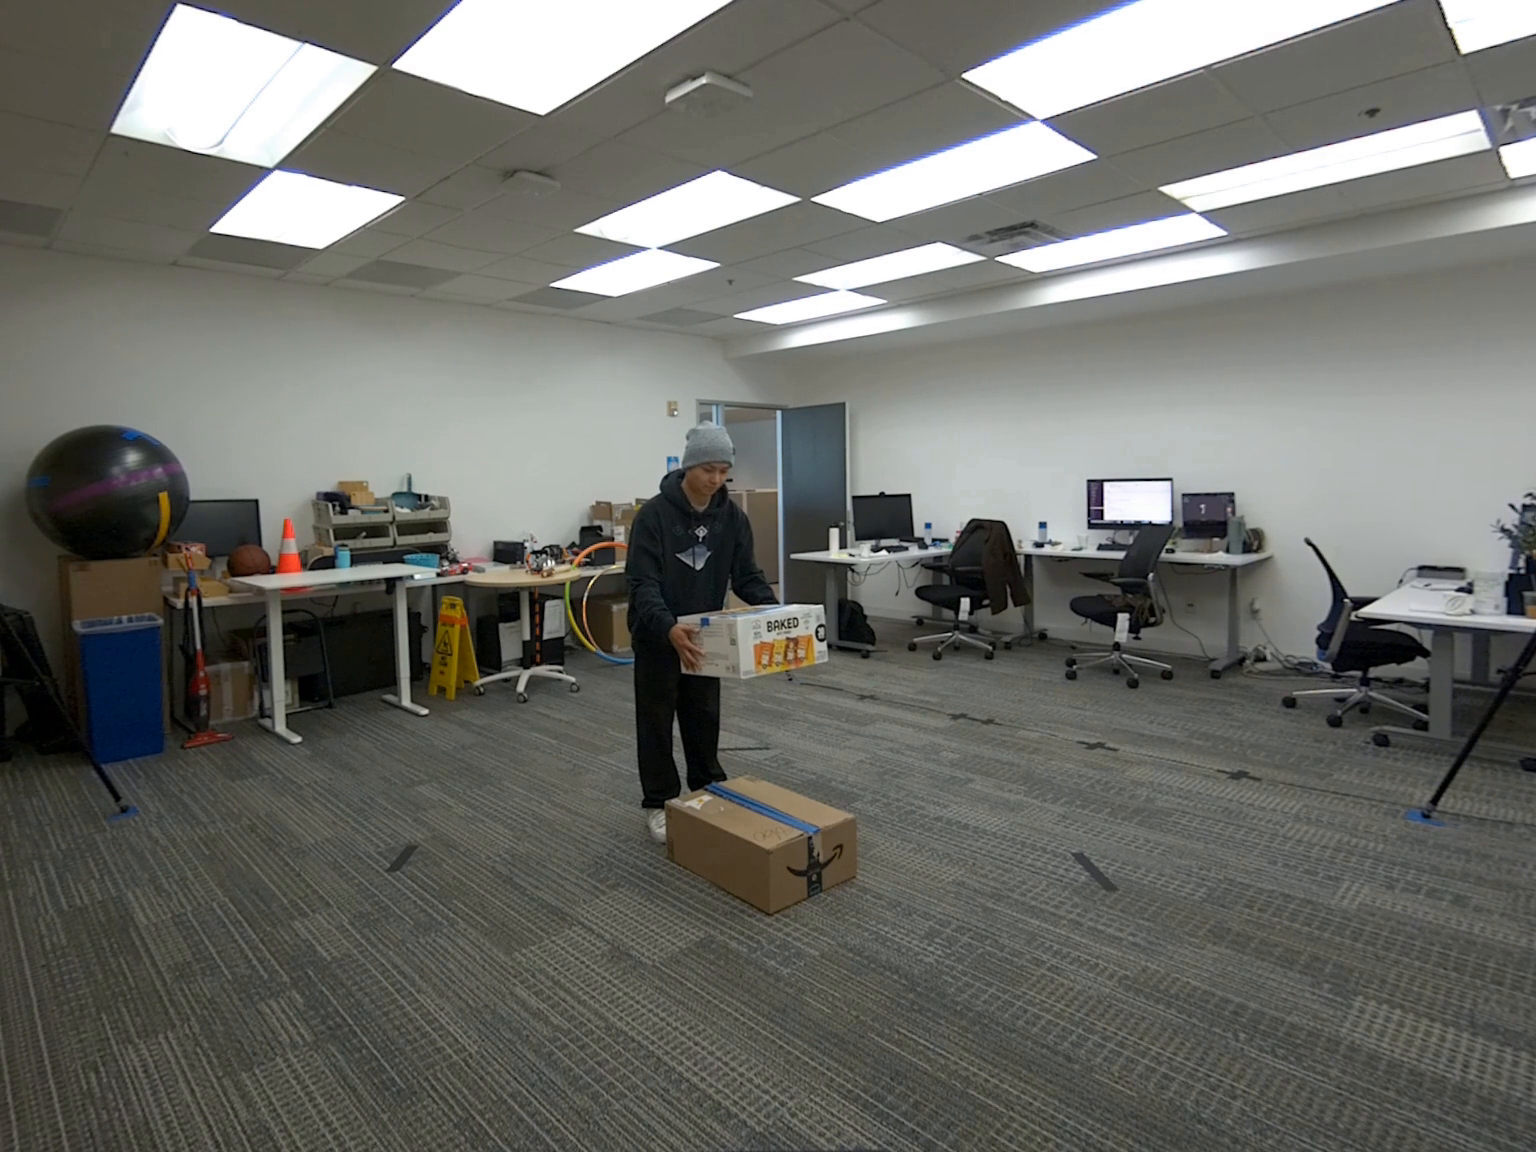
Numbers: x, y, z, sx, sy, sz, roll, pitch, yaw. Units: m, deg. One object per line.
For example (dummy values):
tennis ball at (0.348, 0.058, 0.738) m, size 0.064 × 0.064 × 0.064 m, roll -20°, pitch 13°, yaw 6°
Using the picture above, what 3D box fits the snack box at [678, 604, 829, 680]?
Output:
snack box at (-0.053, 0.226, 3.029) m, size 0.395 × 0.206 × 0.349 m, roll -6°, pitch 1°, yaw -40°
